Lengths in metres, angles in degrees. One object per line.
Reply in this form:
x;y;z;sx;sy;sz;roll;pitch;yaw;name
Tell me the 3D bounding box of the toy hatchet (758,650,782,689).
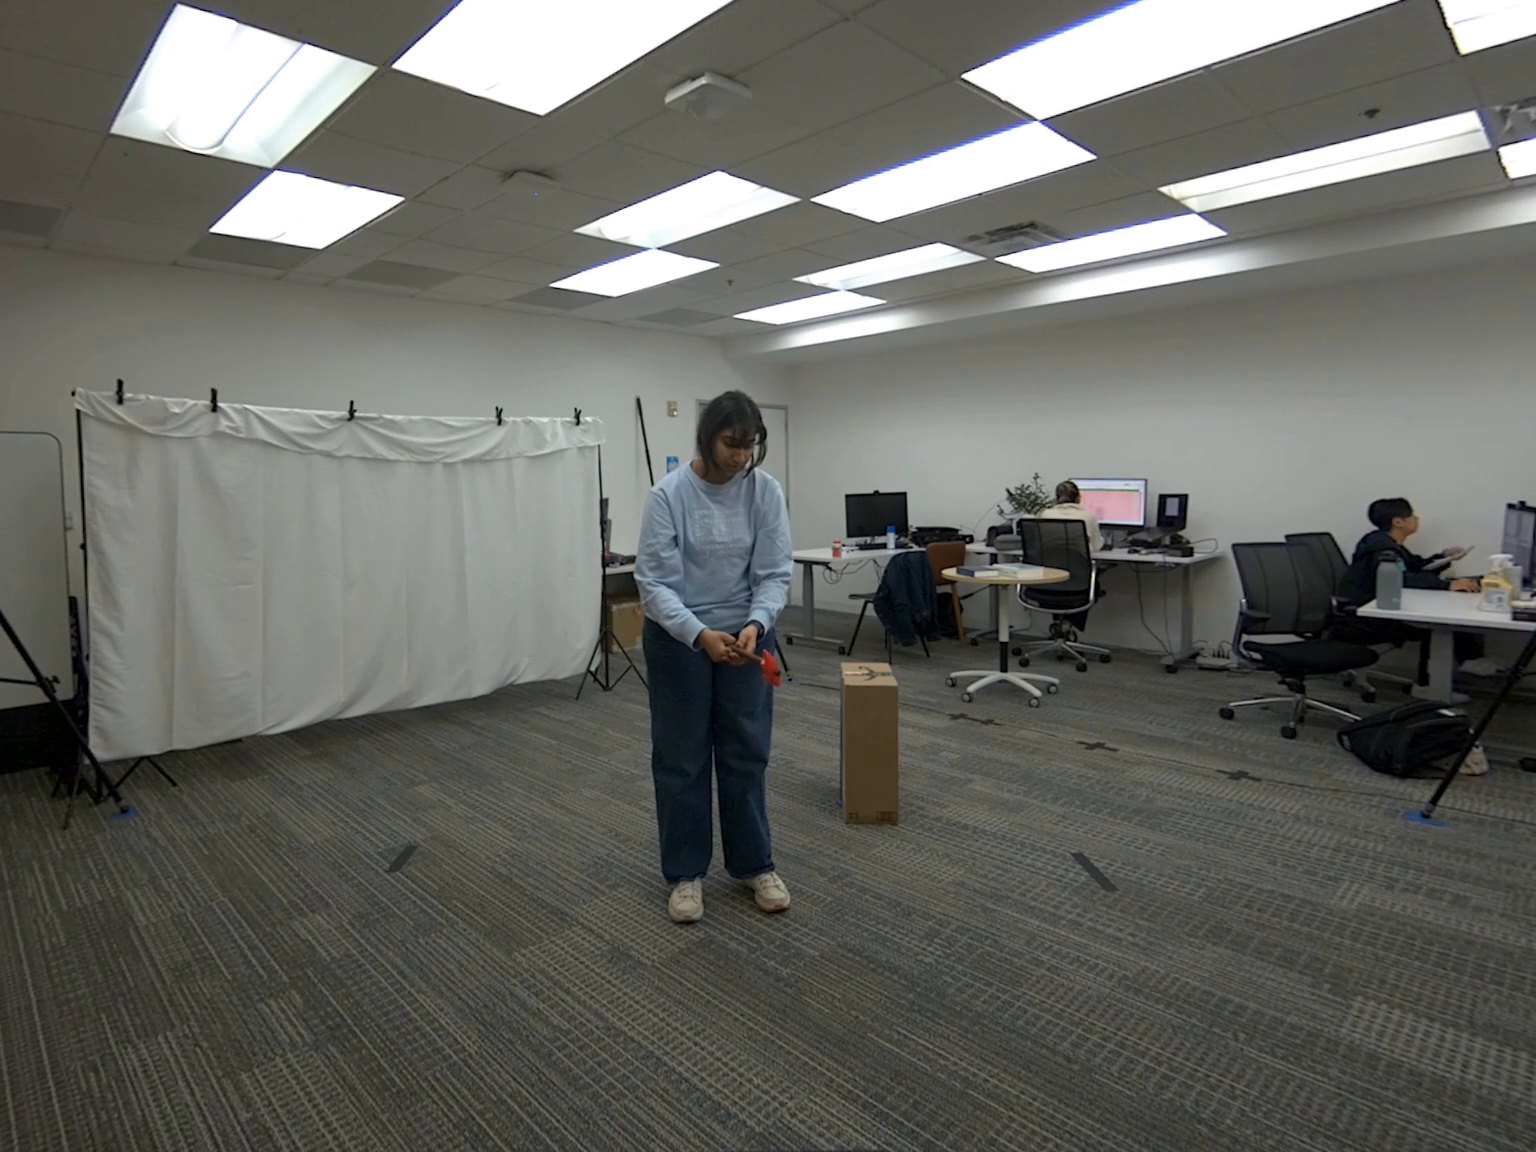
-0.051;0.247;2.386;0.029;0.128;0.277;-38;19;-24;toy hatchet
